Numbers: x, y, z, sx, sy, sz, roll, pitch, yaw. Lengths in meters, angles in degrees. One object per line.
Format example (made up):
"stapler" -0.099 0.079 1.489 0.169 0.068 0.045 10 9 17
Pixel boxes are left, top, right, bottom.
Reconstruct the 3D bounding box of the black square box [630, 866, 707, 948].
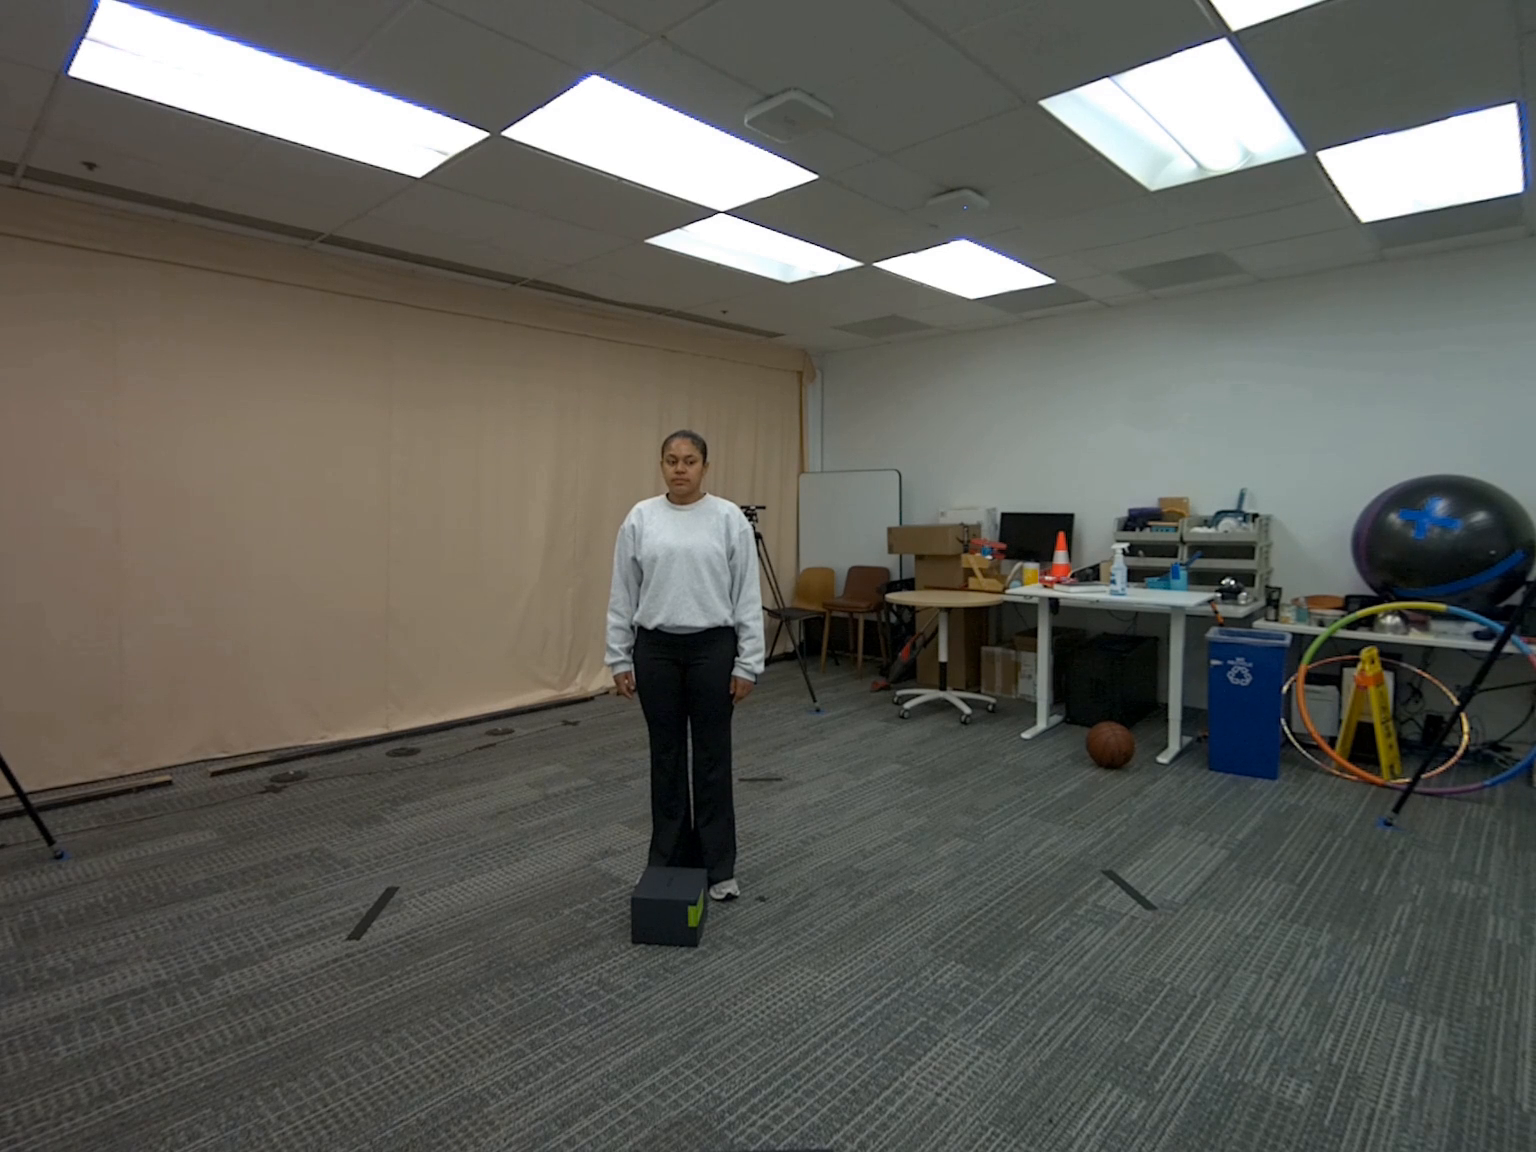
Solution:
"black square box" -0.321 1.073 2.771 0.219 0.155 0.227 0 4 6
